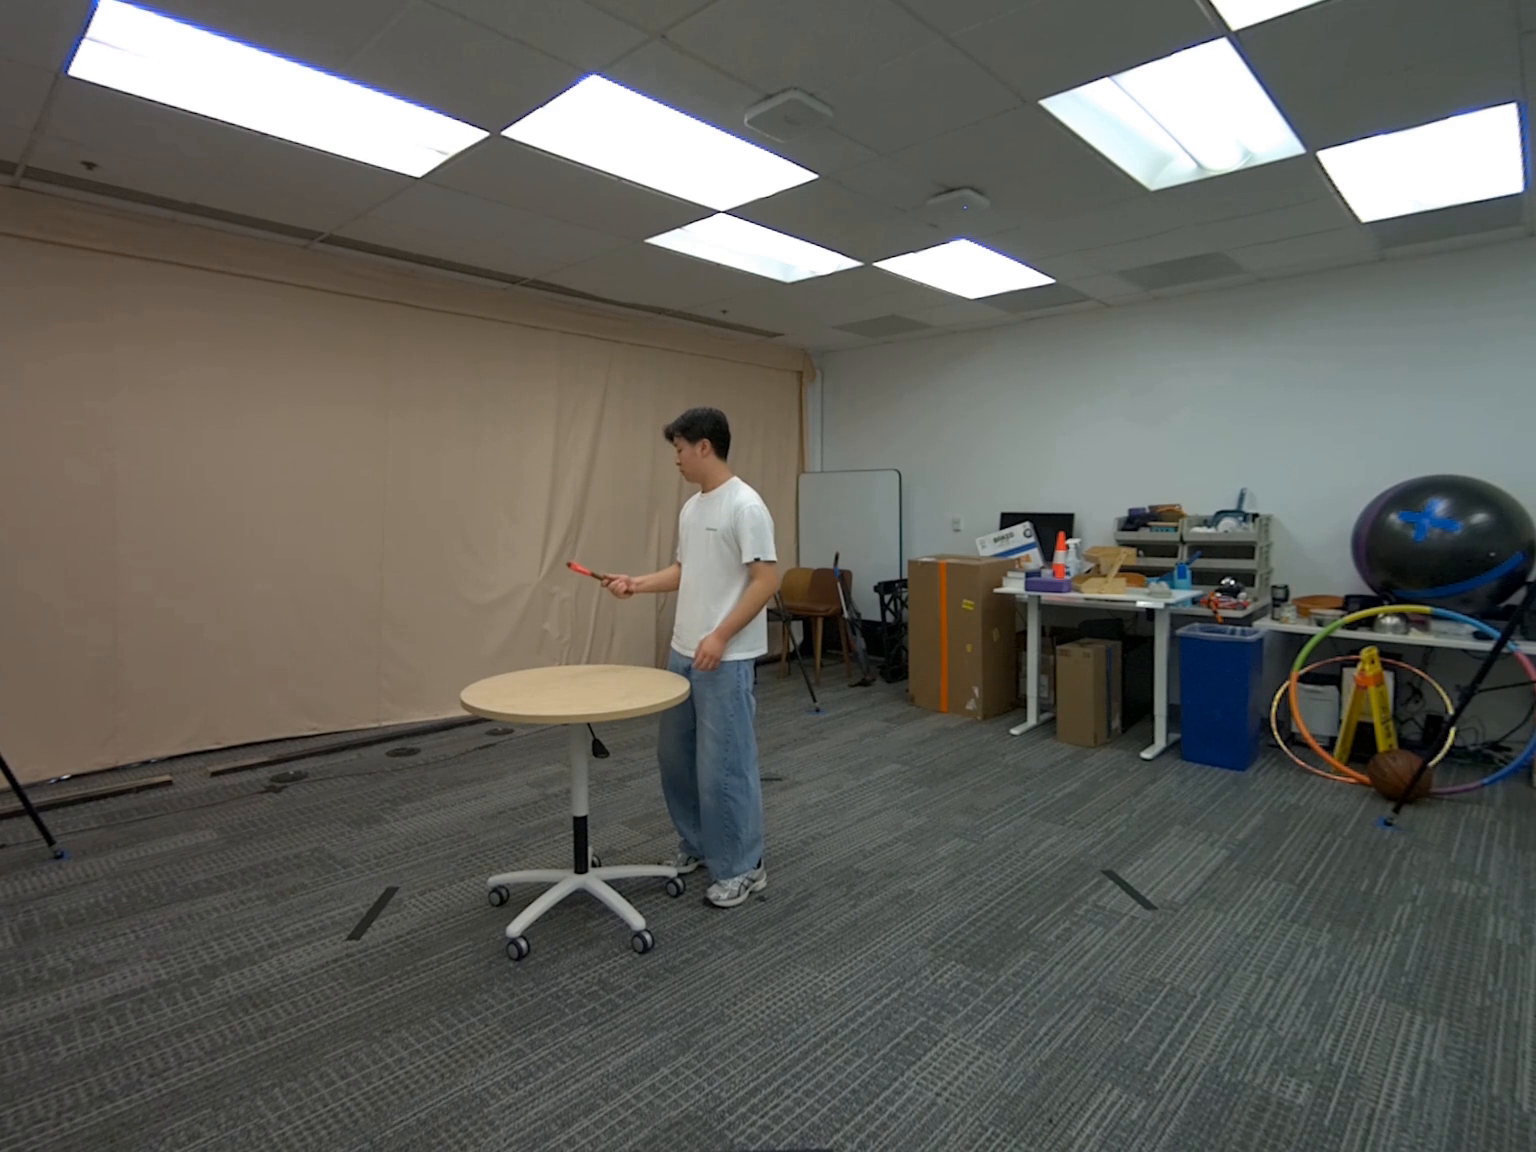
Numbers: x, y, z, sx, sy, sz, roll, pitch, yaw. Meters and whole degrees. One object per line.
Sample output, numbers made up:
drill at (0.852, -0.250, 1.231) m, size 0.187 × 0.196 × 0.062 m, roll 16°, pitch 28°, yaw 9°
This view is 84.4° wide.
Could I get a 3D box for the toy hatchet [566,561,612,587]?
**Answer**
toy hatchet at (-0.616, -0.003, 3.112) m, size 0.267 × 0.029 × 0.133 m, roll 19°, pitch -2°, yaw -11°
